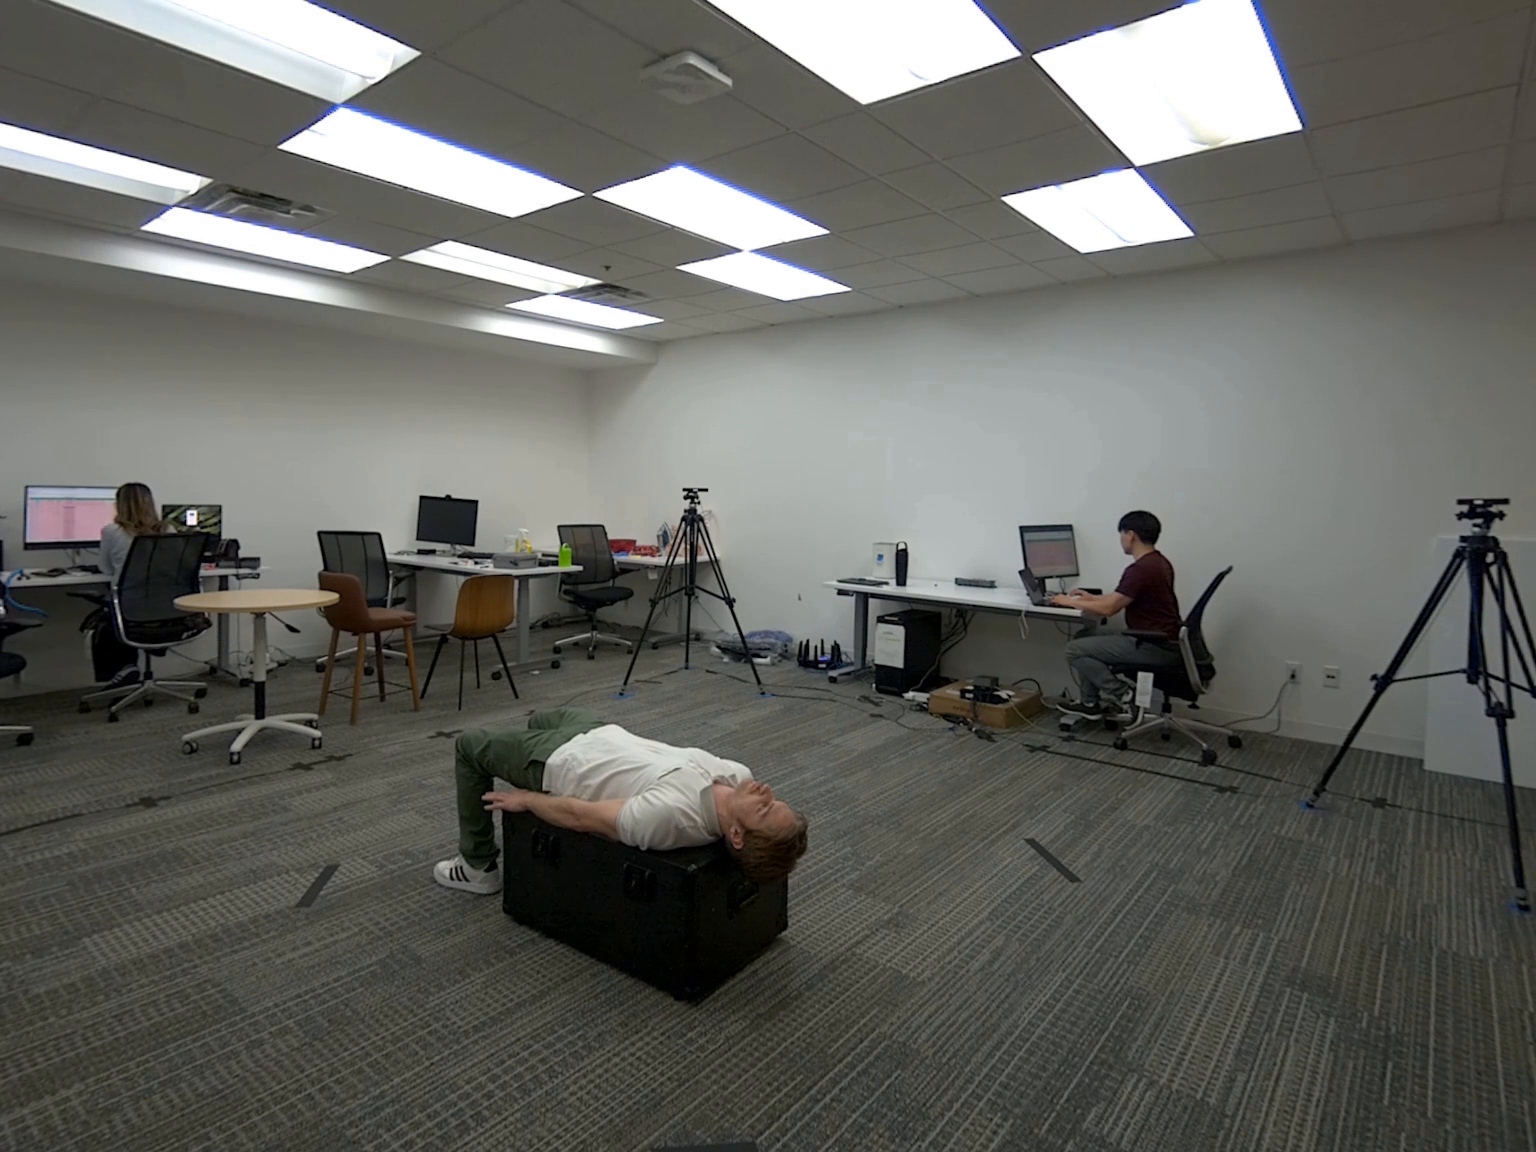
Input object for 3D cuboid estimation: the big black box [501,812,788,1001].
[{"bbox_3d":[-0.427,0.917,2.702,0.896,0.384,0.509,4,6,35],"label":"big black box"}]
